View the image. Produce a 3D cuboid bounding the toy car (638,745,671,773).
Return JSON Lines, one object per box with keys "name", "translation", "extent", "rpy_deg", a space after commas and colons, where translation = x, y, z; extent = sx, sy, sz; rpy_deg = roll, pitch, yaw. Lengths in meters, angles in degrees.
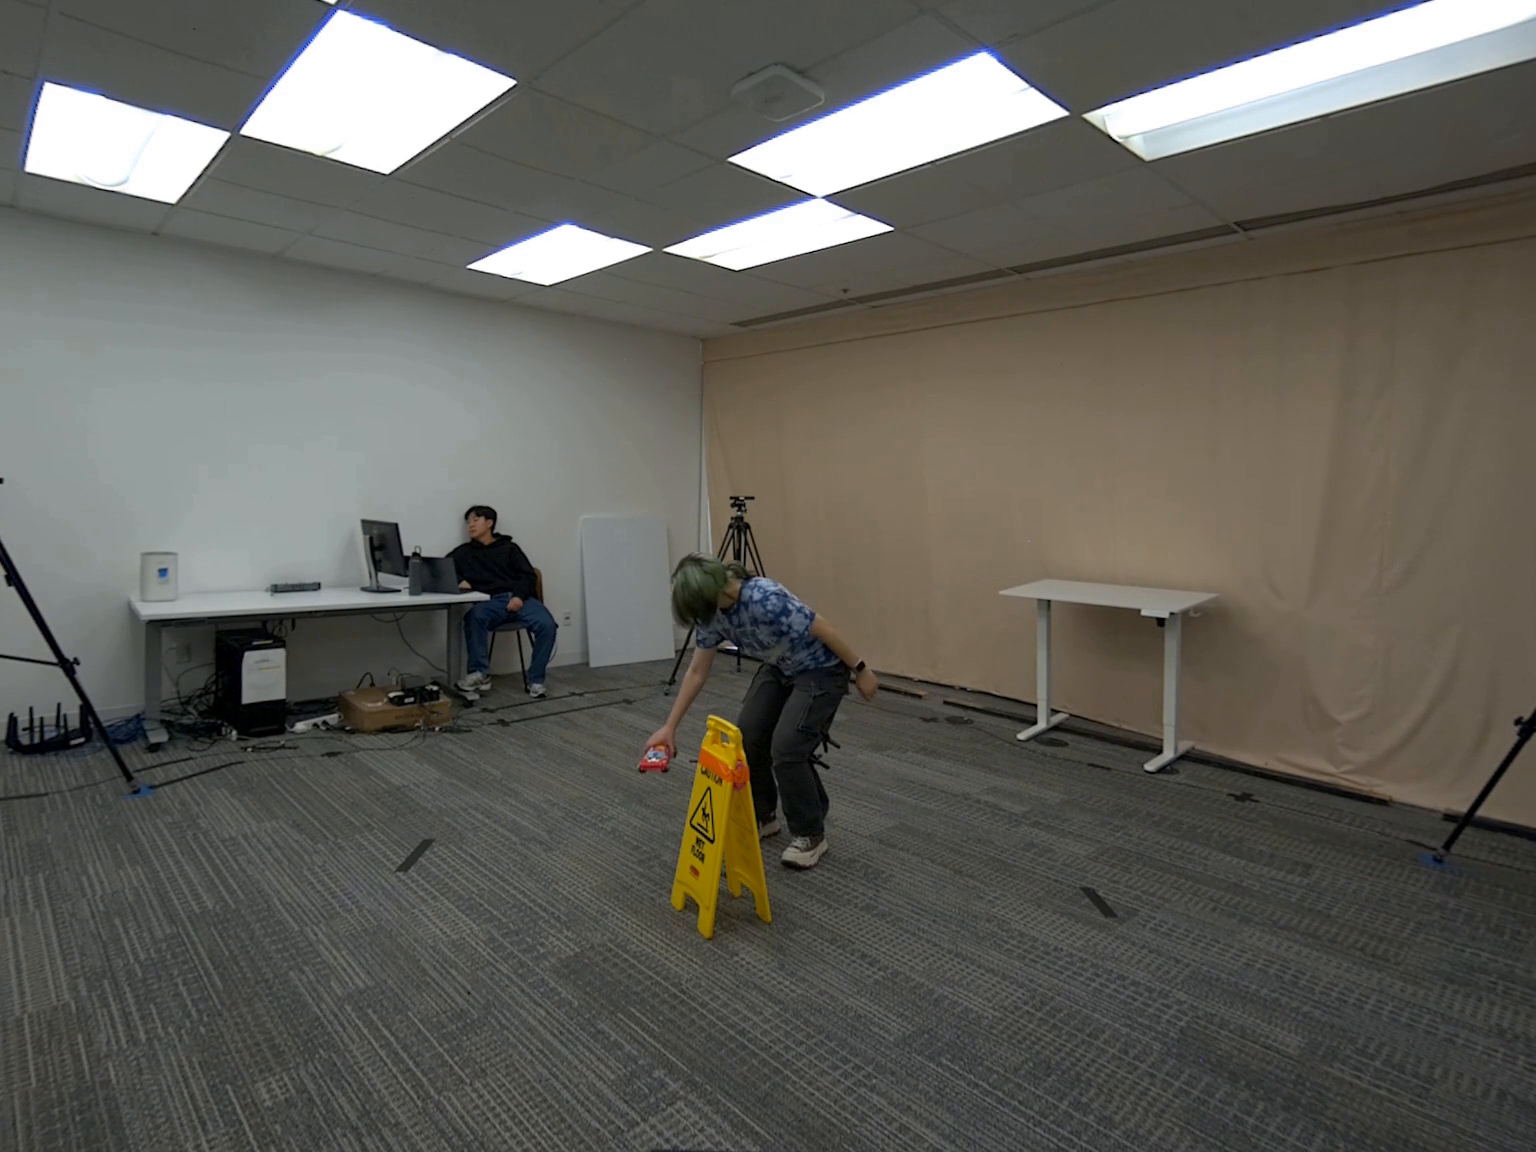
{"name": "toy car", "translation": [-0.443, 0.715, 3.345], "extent": [0.131, 0.082, 0.257], "rpy_deg": [-3, 18, 5]}
